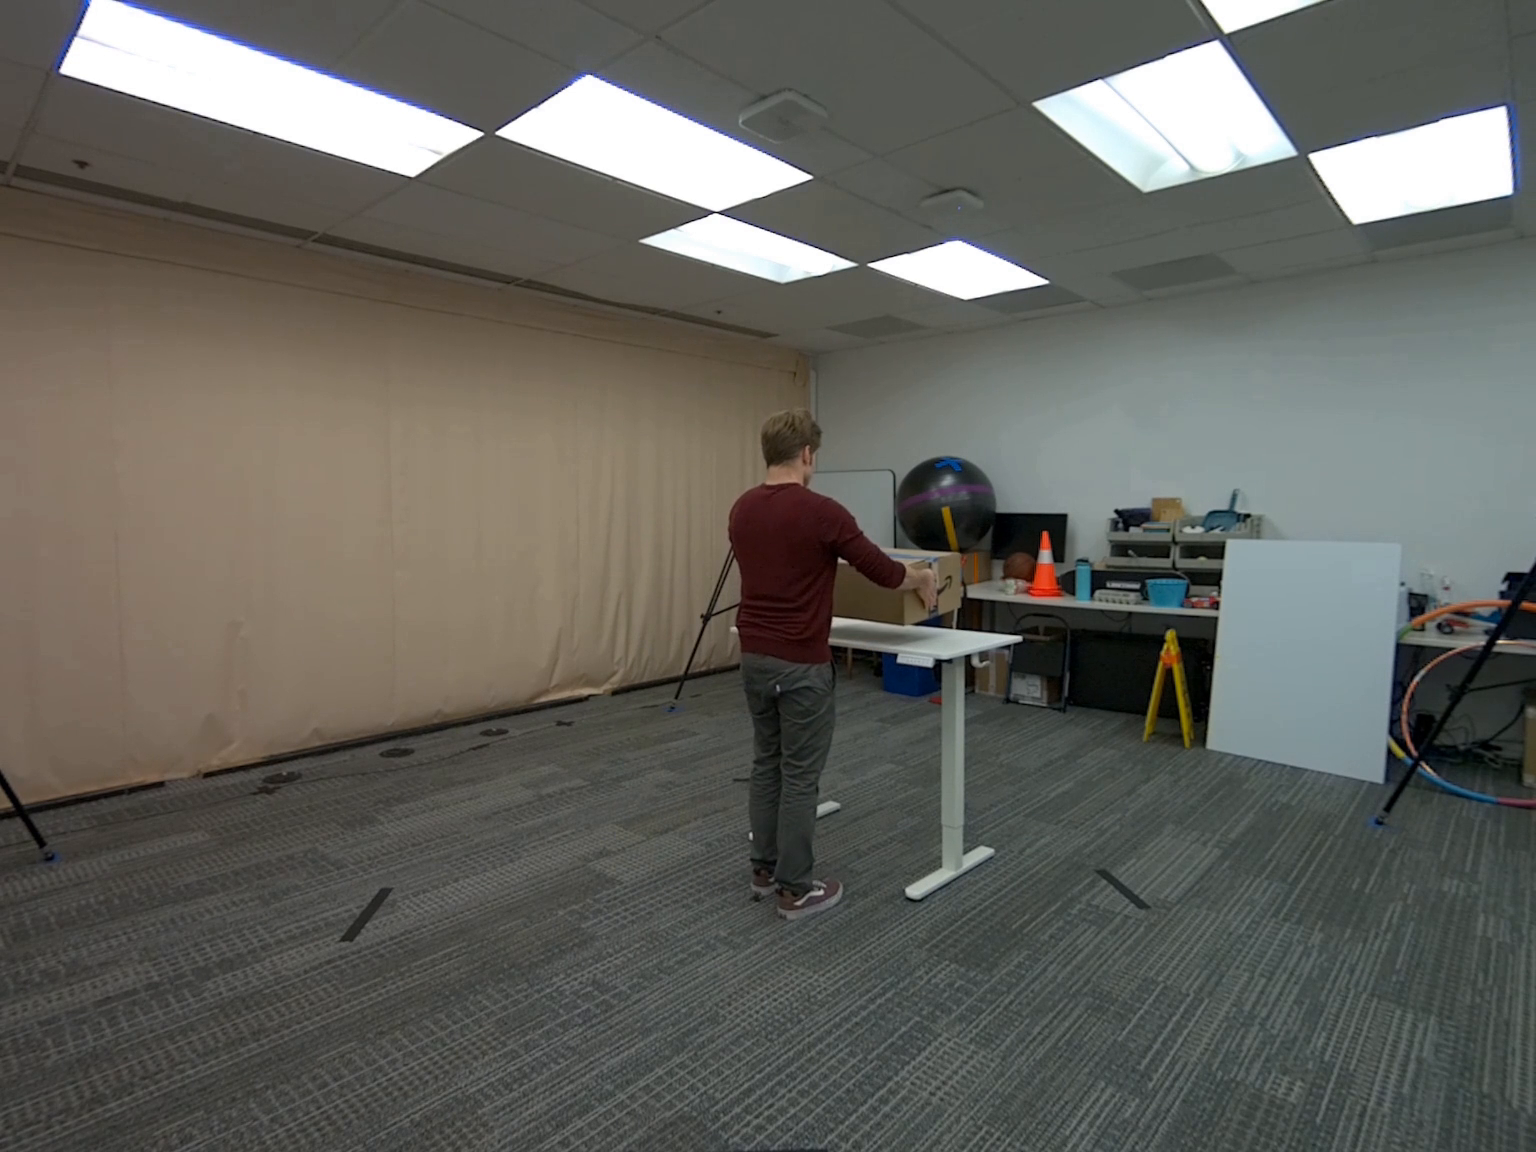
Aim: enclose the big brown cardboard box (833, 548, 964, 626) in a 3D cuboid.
[{"bbox_3d":[0.392,0.024,3.304,0.609,0.232,0.406,6,12,41],"label":"big brown cardboard box"}]
